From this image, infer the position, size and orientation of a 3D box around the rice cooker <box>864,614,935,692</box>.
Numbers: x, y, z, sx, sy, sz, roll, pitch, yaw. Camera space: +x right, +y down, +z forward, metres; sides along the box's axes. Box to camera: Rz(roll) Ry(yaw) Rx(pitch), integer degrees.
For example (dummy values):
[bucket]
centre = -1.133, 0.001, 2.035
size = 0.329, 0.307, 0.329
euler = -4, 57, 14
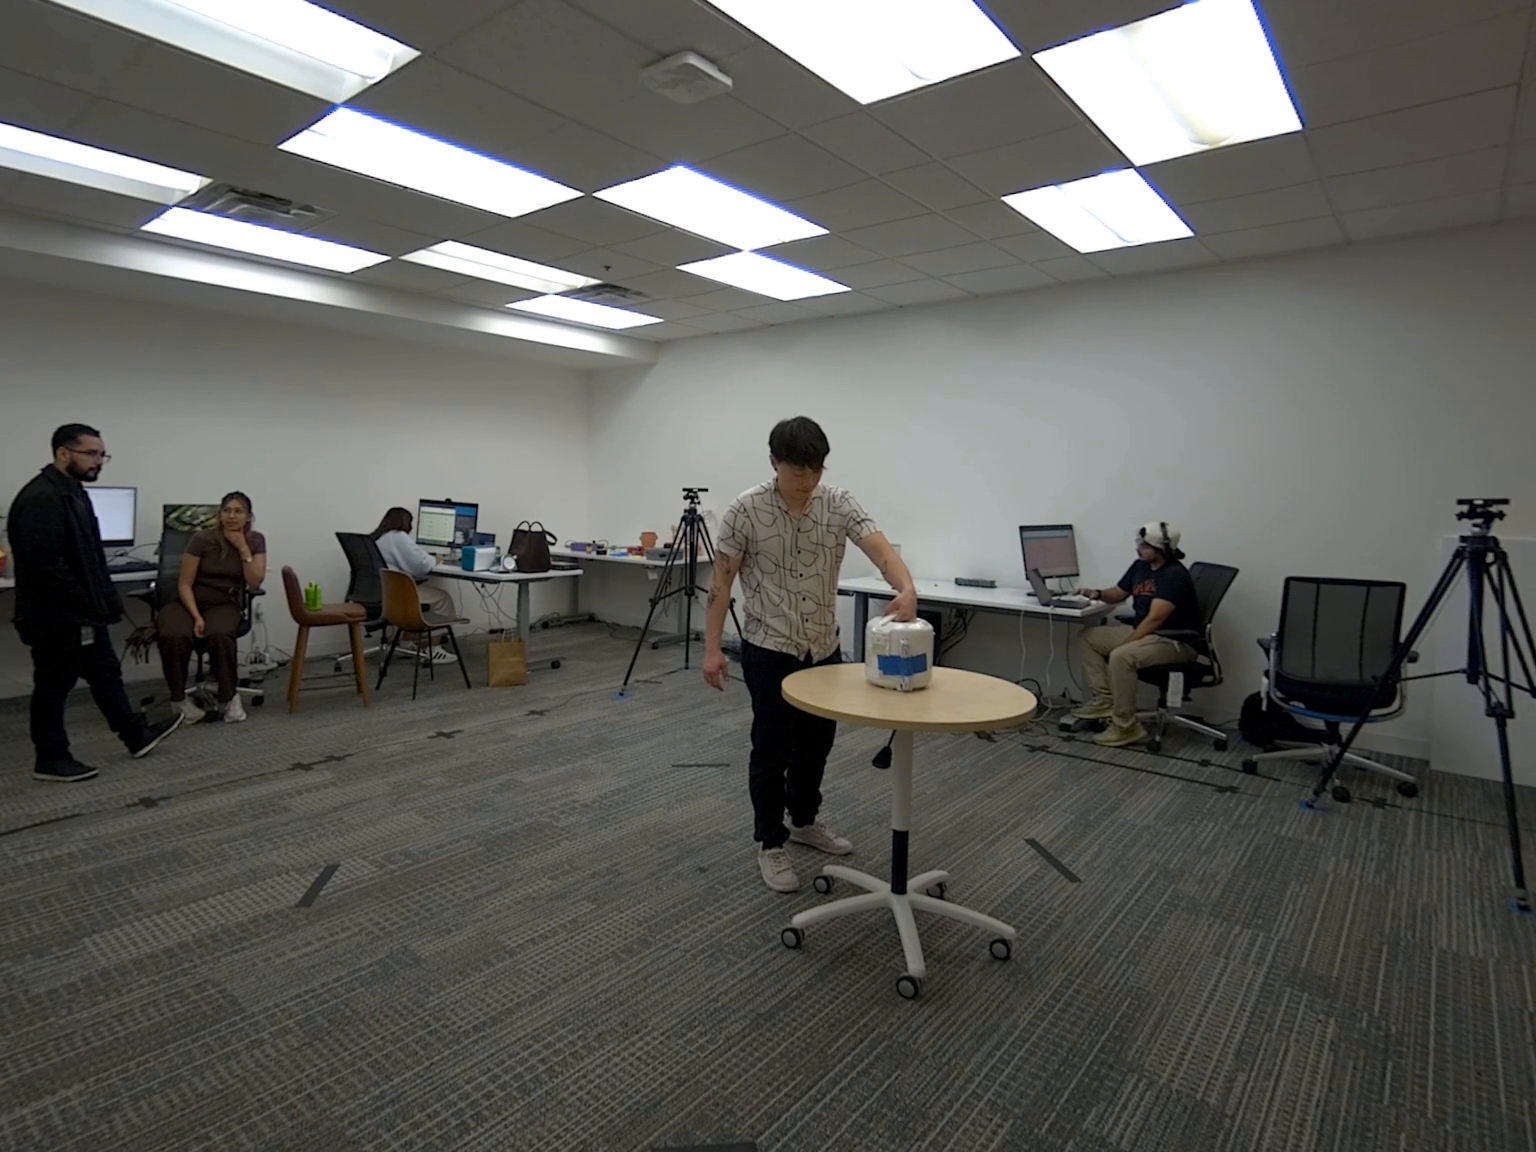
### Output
[rice cooker]
centre = 0.409, 0.224, 2.692
size = 0.225, 0.232, 0.214
euler = 7, 6, 45
